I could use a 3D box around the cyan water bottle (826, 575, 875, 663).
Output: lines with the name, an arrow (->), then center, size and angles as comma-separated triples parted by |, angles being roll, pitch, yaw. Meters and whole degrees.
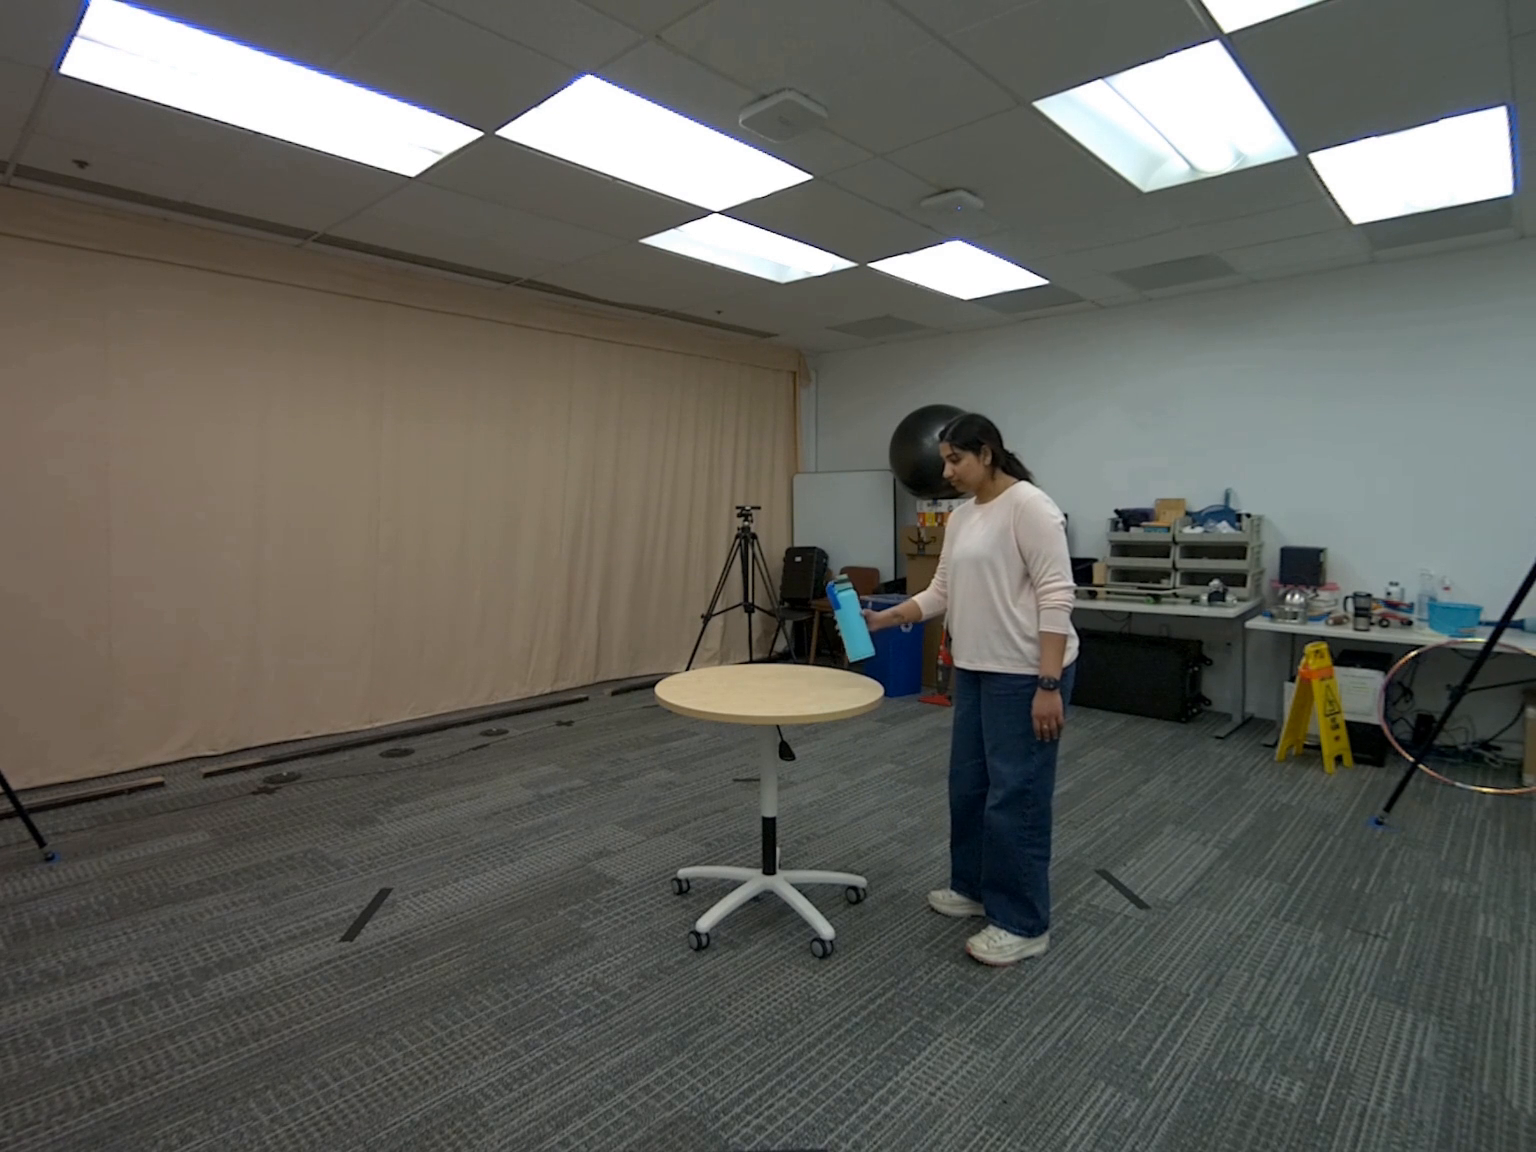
cyan water bottle -> 0.284, 0.148, 2.804 | 0.092, 0.285, 0.092 | -17, -6, -3
